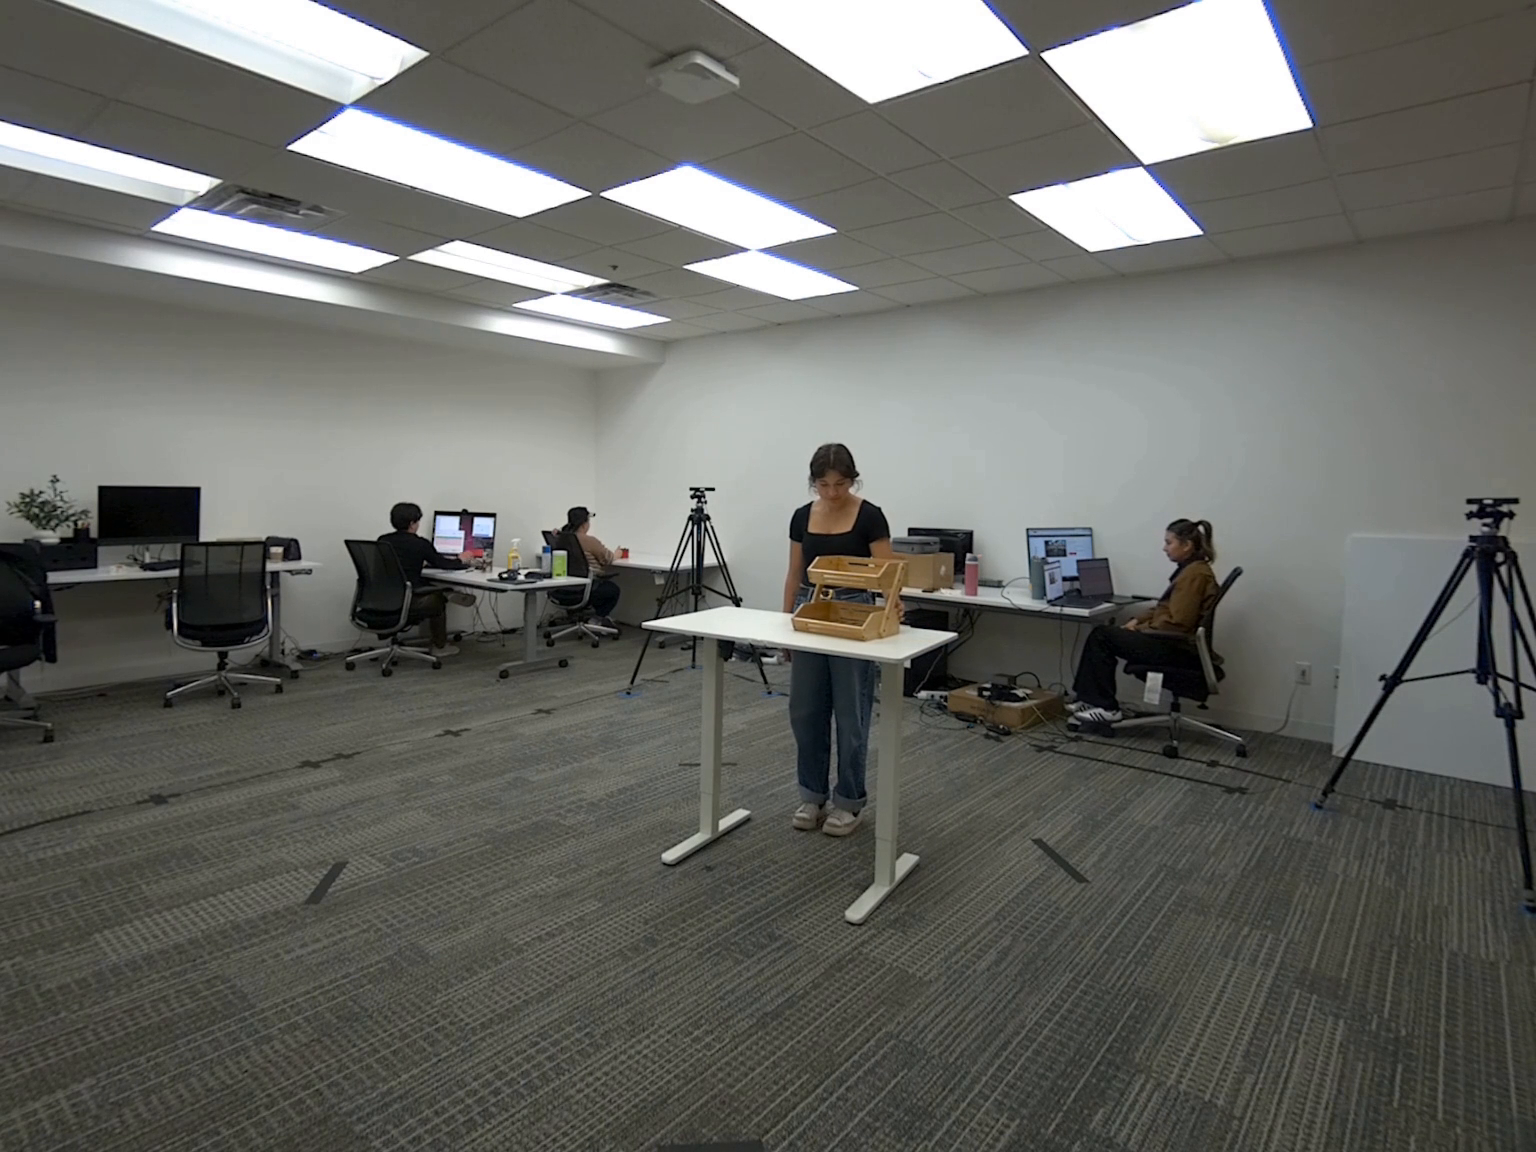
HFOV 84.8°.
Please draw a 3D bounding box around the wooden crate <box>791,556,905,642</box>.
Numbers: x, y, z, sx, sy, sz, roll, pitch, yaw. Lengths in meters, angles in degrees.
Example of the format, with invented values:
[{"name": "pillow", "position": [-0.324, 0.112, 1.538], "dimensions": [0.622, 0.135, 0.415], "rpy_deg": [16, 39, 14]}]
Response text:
[{"name": "wooden crate", "position": [0.292, 0.065, 3.078], "dimensions": [0.335, 0.272, 0.293], "rpy_deg": [5, 5, 39]}]
